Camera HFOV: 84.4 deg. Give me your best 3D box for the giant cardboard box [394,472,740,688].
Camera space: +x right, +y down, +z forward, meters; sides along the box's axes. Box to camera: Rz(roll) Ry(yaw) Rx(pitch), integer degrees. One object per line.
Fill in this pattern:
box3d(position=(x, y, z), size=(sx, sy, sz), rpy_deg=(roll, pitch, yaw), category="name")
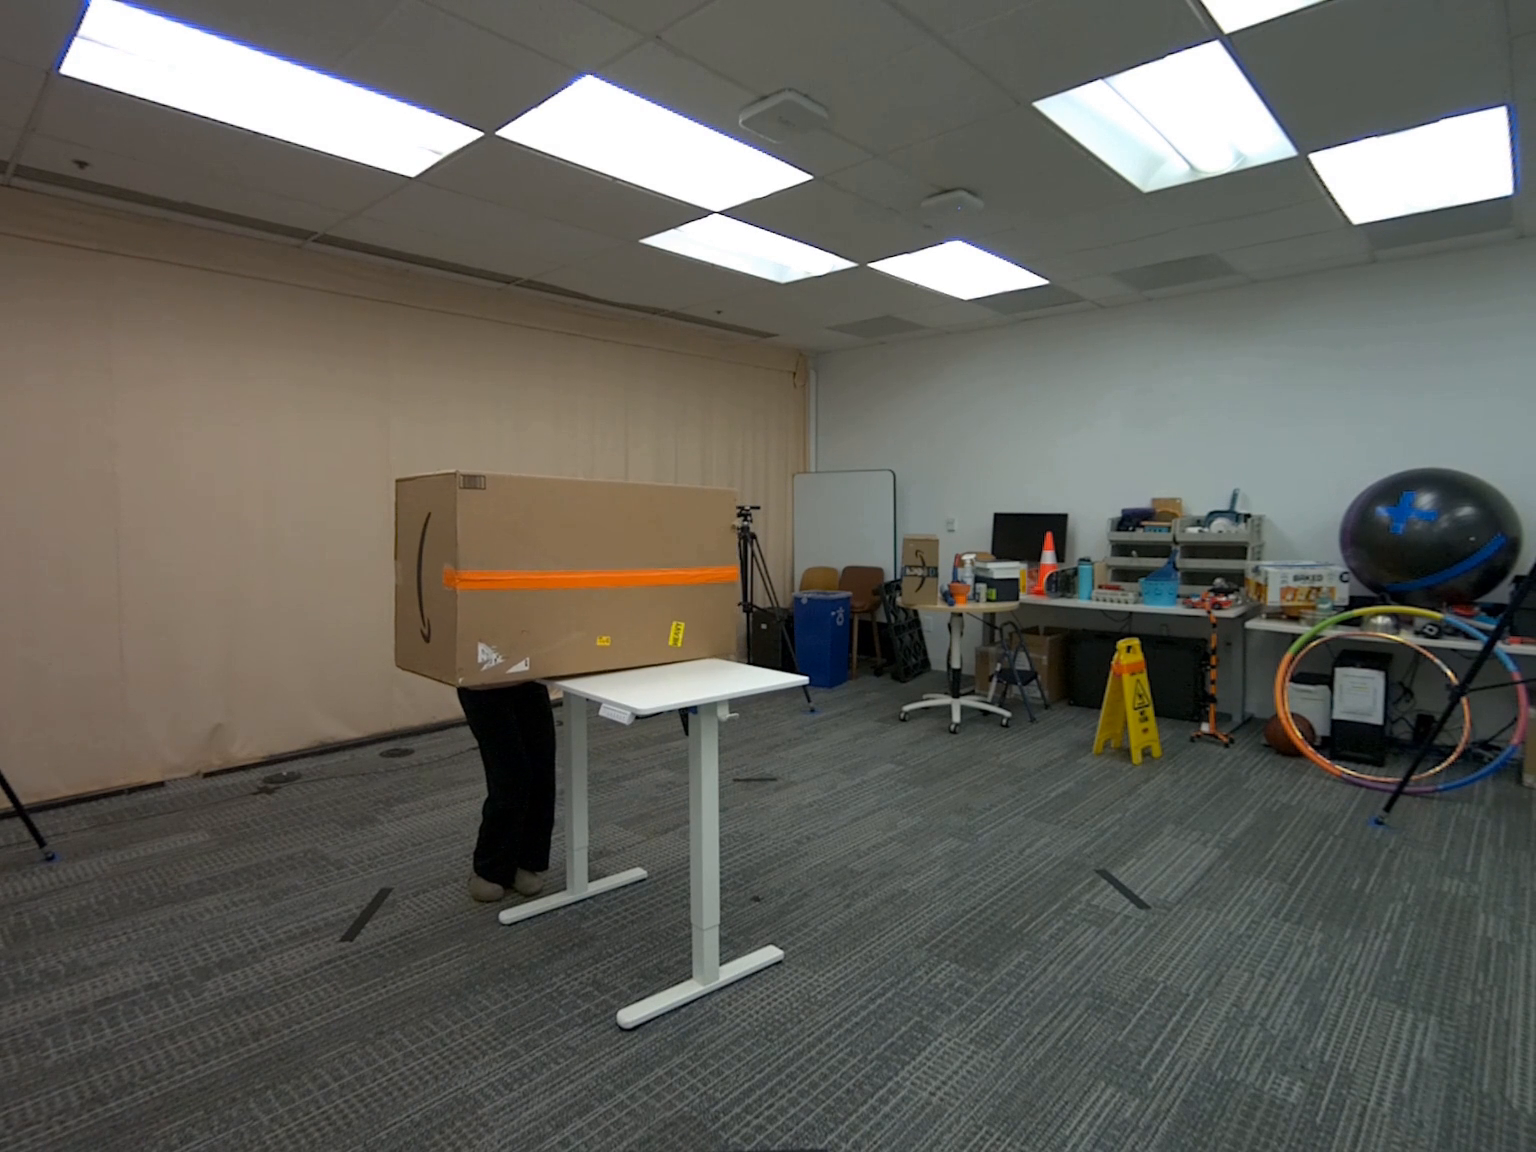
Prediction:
box3d(position=(-0.609, -0.013, 2.715), size=(0.993, 0.577, 0.440), rpy_deg=(-2, 3, -44), category="giant cardboard box")
